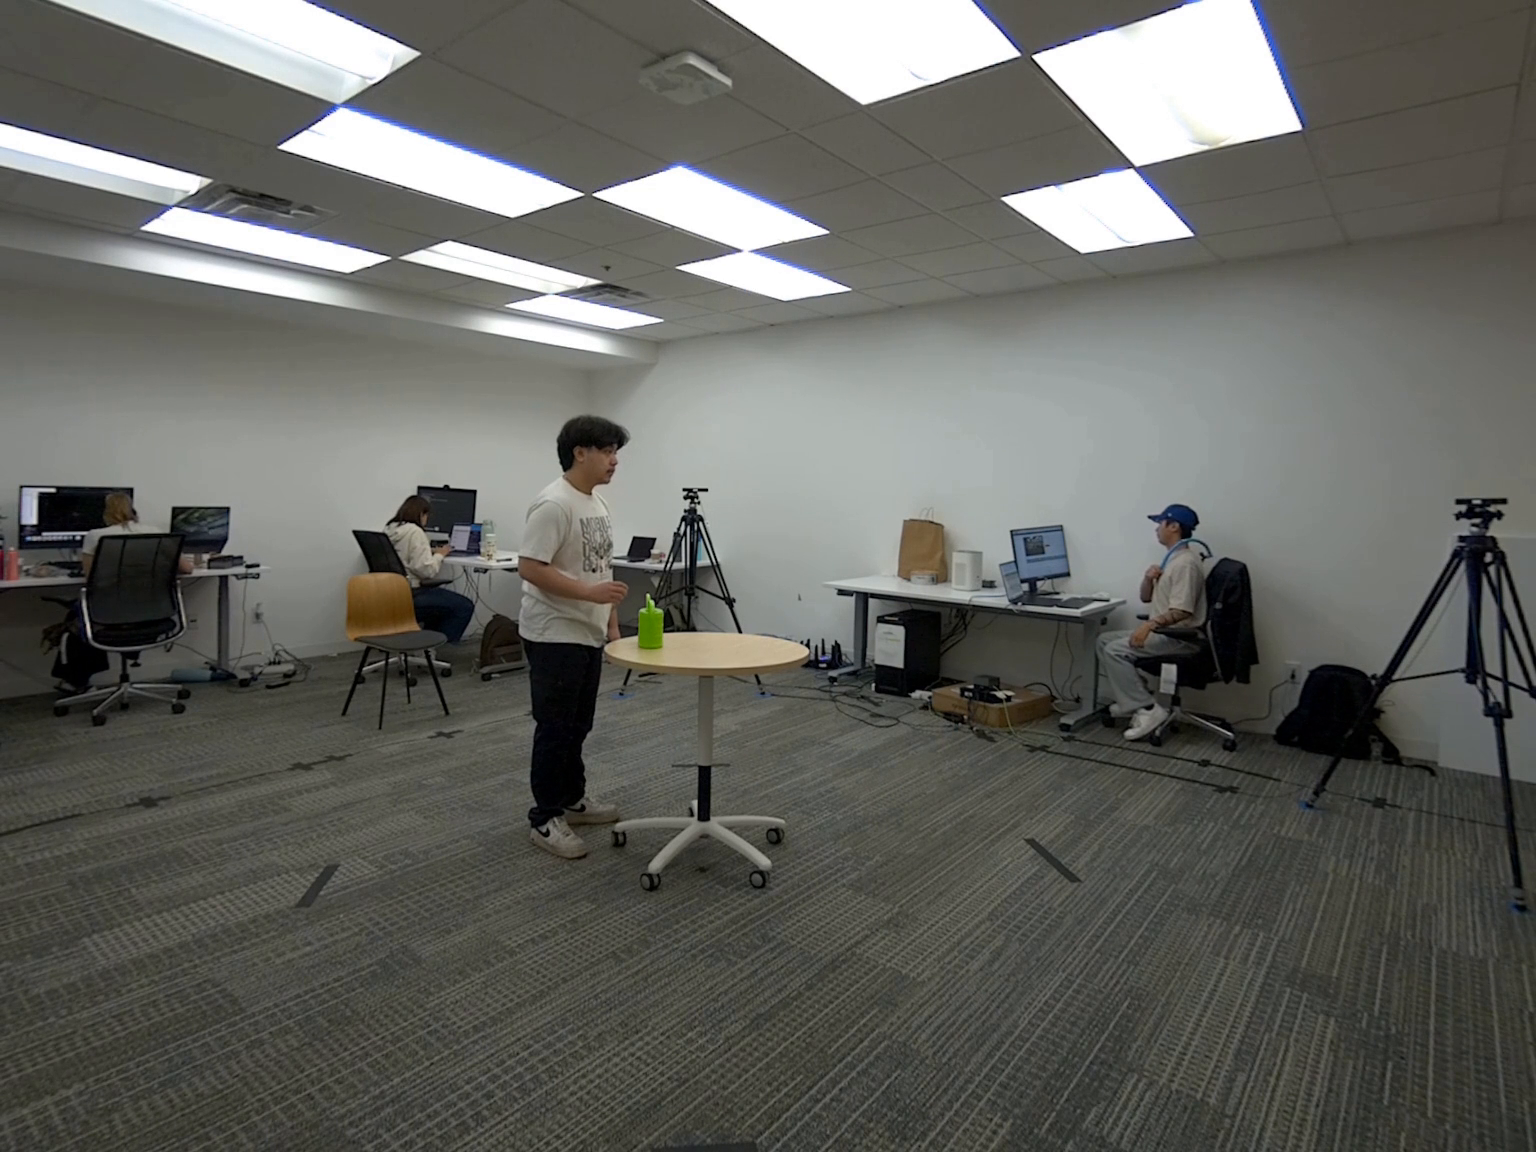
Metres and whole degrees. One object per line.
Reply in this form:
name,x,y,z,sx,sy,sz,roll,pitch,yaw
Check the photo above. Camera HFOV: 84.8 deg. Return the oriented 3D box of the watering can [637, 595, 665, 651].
watering can,-0.457,0.176,3.258,0.098,0.176,0.279,3,5,-1
